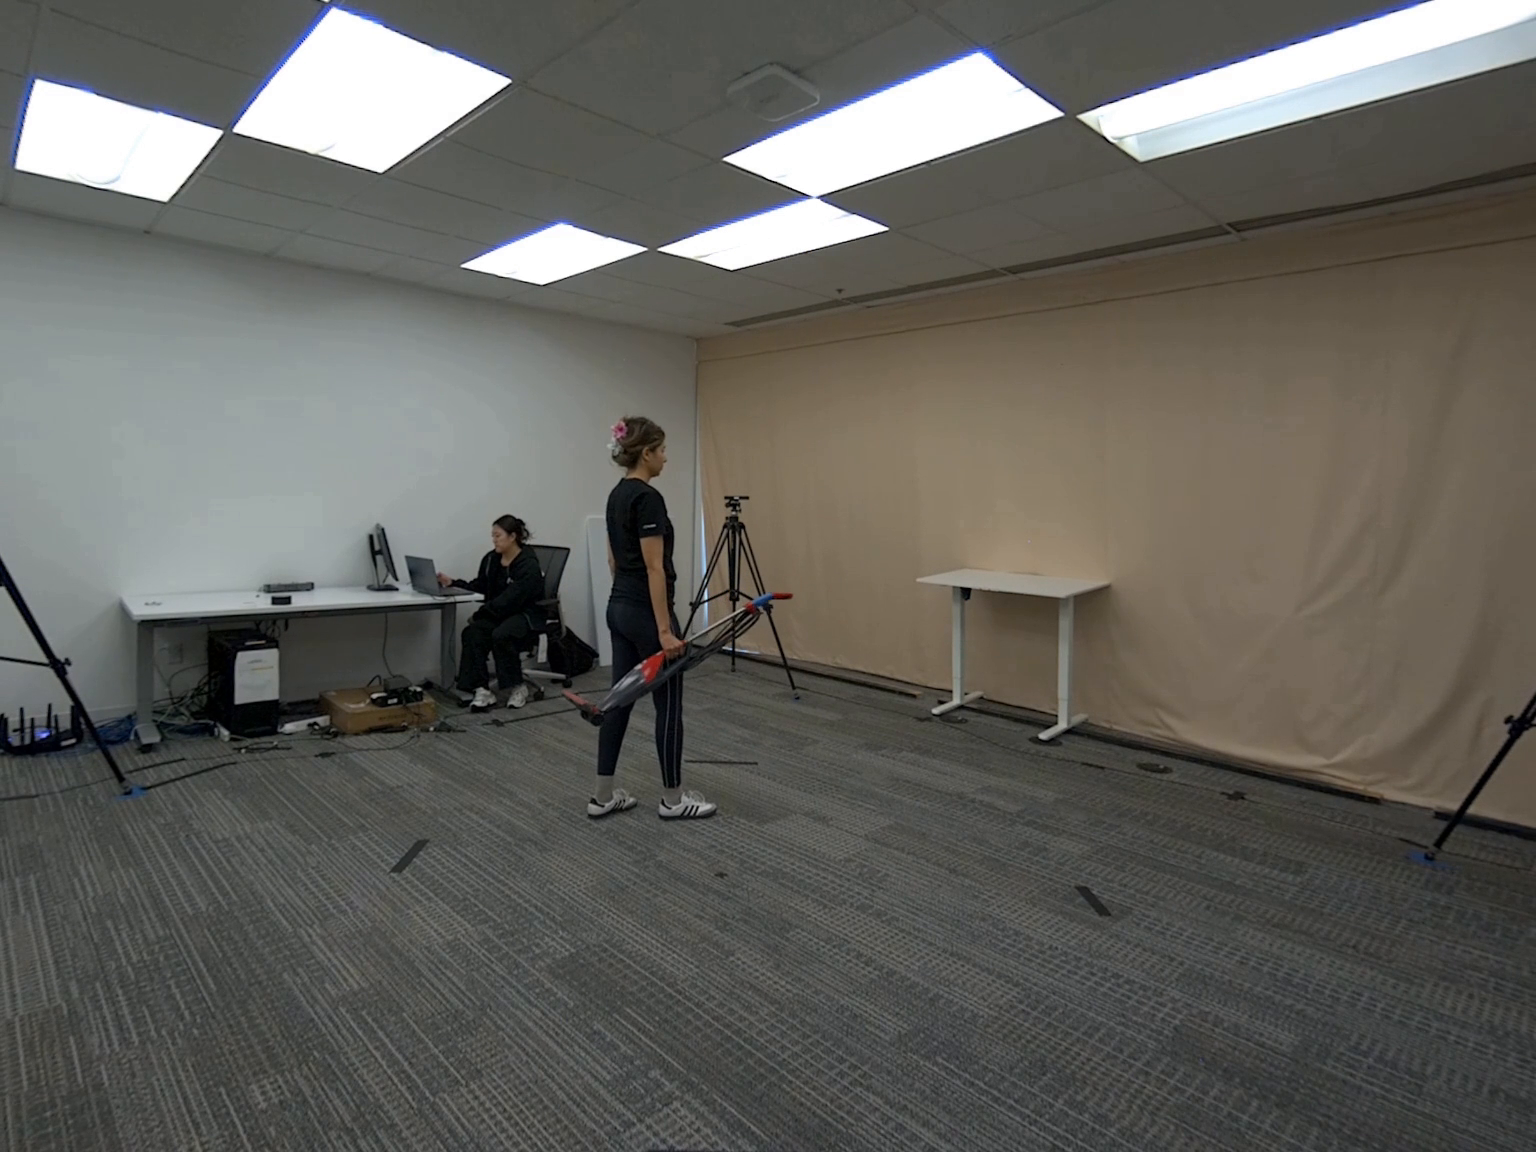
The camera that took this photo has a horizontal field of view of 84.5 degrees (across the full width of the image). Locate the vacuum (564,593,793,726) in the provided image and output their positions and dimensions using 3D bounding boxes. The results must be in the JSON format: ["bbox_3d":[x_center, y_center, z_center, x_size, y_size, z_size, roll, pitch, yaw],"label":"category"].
[{"bbox_3d":[-0.322,0.312,3.484,1.041,0.142,0.257,-28,13,-23],"label":"vacuum"}]
